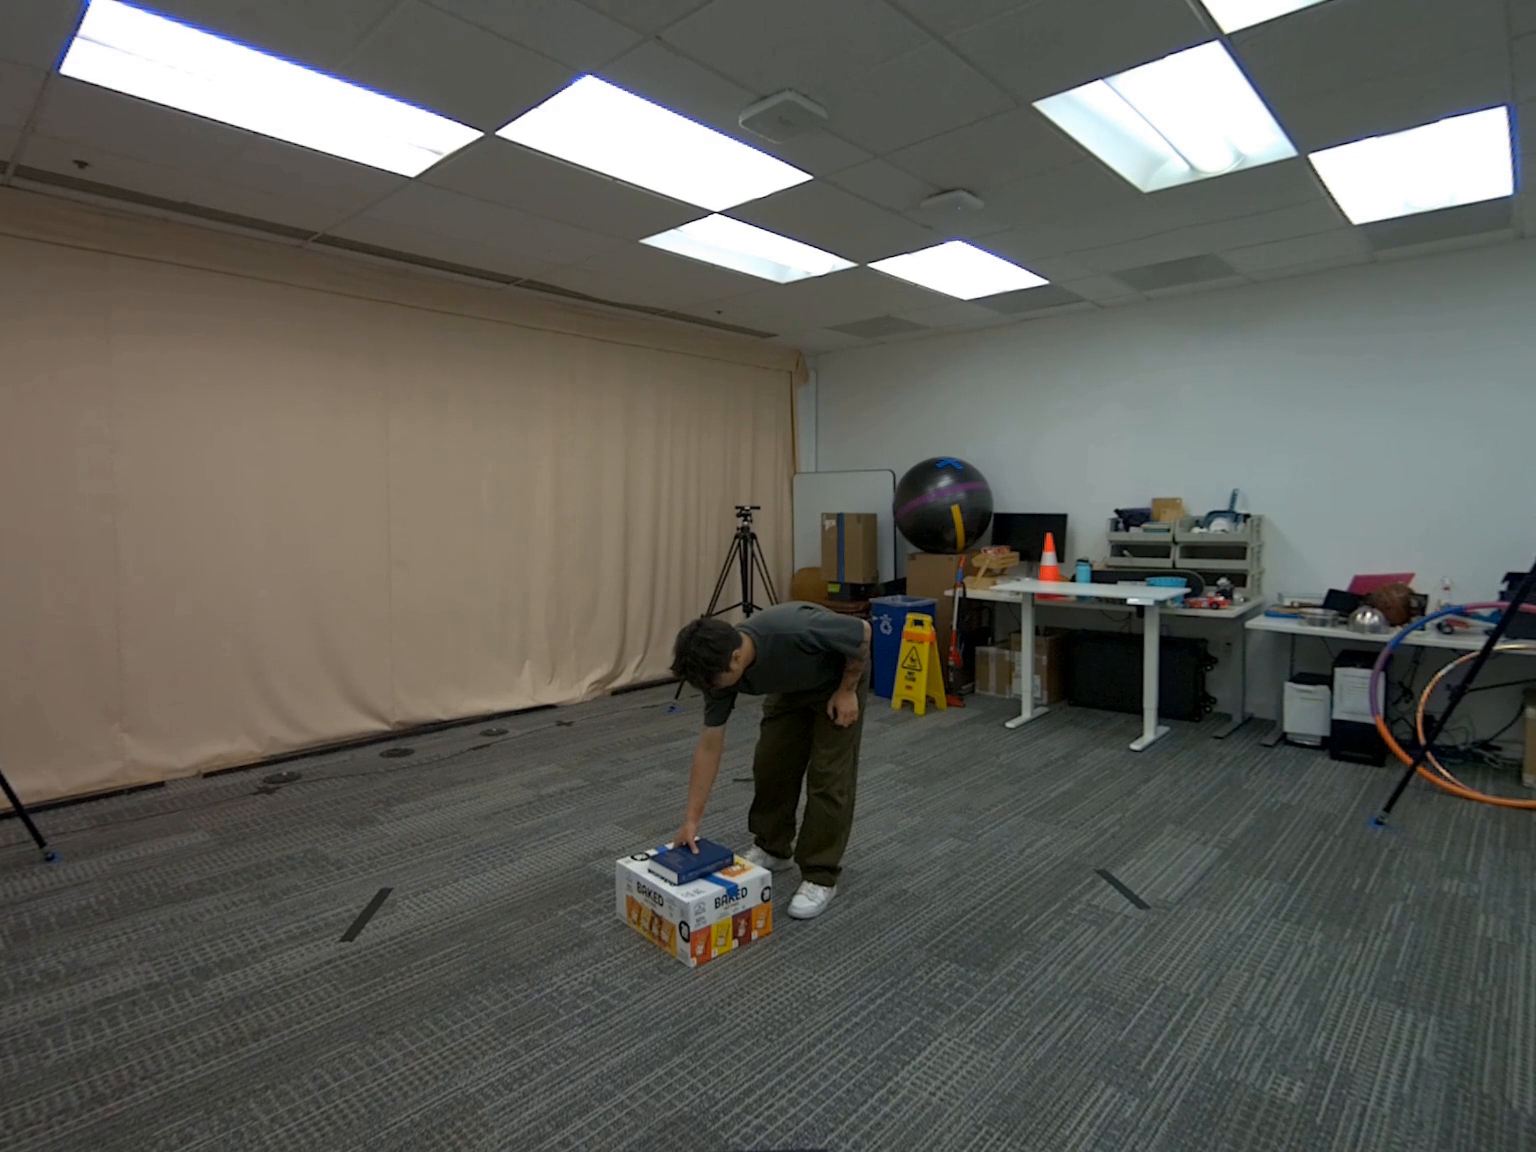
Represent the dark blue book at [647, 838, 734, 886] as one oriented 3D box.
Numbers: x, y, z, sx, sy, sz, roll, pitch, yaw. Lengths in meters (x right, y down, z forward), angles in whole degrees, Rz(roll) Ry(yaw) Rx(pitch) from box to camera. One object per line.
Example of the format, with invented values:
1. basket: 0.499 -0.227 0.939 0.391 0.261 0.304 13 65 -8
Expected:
1. dark blue book: -0.259 0.955 2.783 0.237 0.045 0.169 -4 6 -41
